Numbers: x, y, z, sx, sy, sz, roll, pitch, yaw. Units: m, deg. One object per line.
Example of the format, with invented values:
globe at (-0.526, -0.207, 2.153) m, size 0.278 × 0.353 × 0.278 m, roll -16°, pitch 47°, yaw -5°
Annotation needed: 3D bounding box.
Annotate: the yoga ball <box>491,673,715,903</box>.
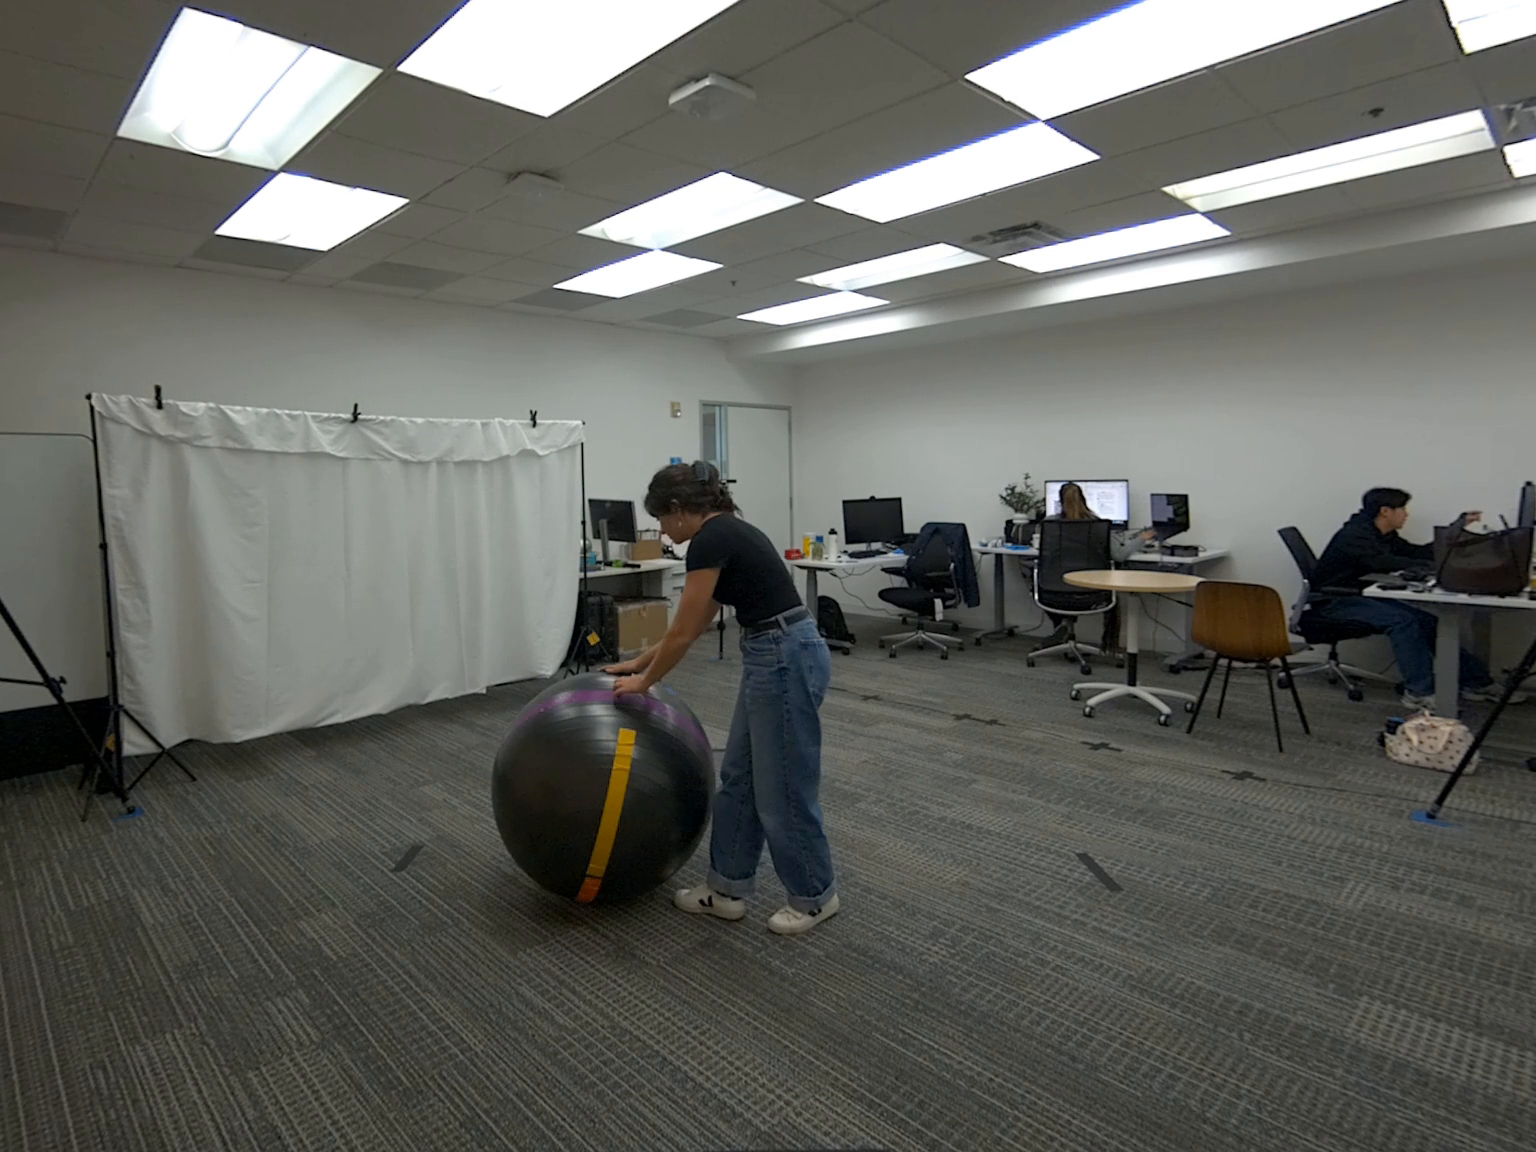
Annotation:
yoga ball at (-0.557, 0.710, 2.917) m, size 0.757 × 0.755 × 0.762 m, roll -1°, pitch 5°, yaw -2°
